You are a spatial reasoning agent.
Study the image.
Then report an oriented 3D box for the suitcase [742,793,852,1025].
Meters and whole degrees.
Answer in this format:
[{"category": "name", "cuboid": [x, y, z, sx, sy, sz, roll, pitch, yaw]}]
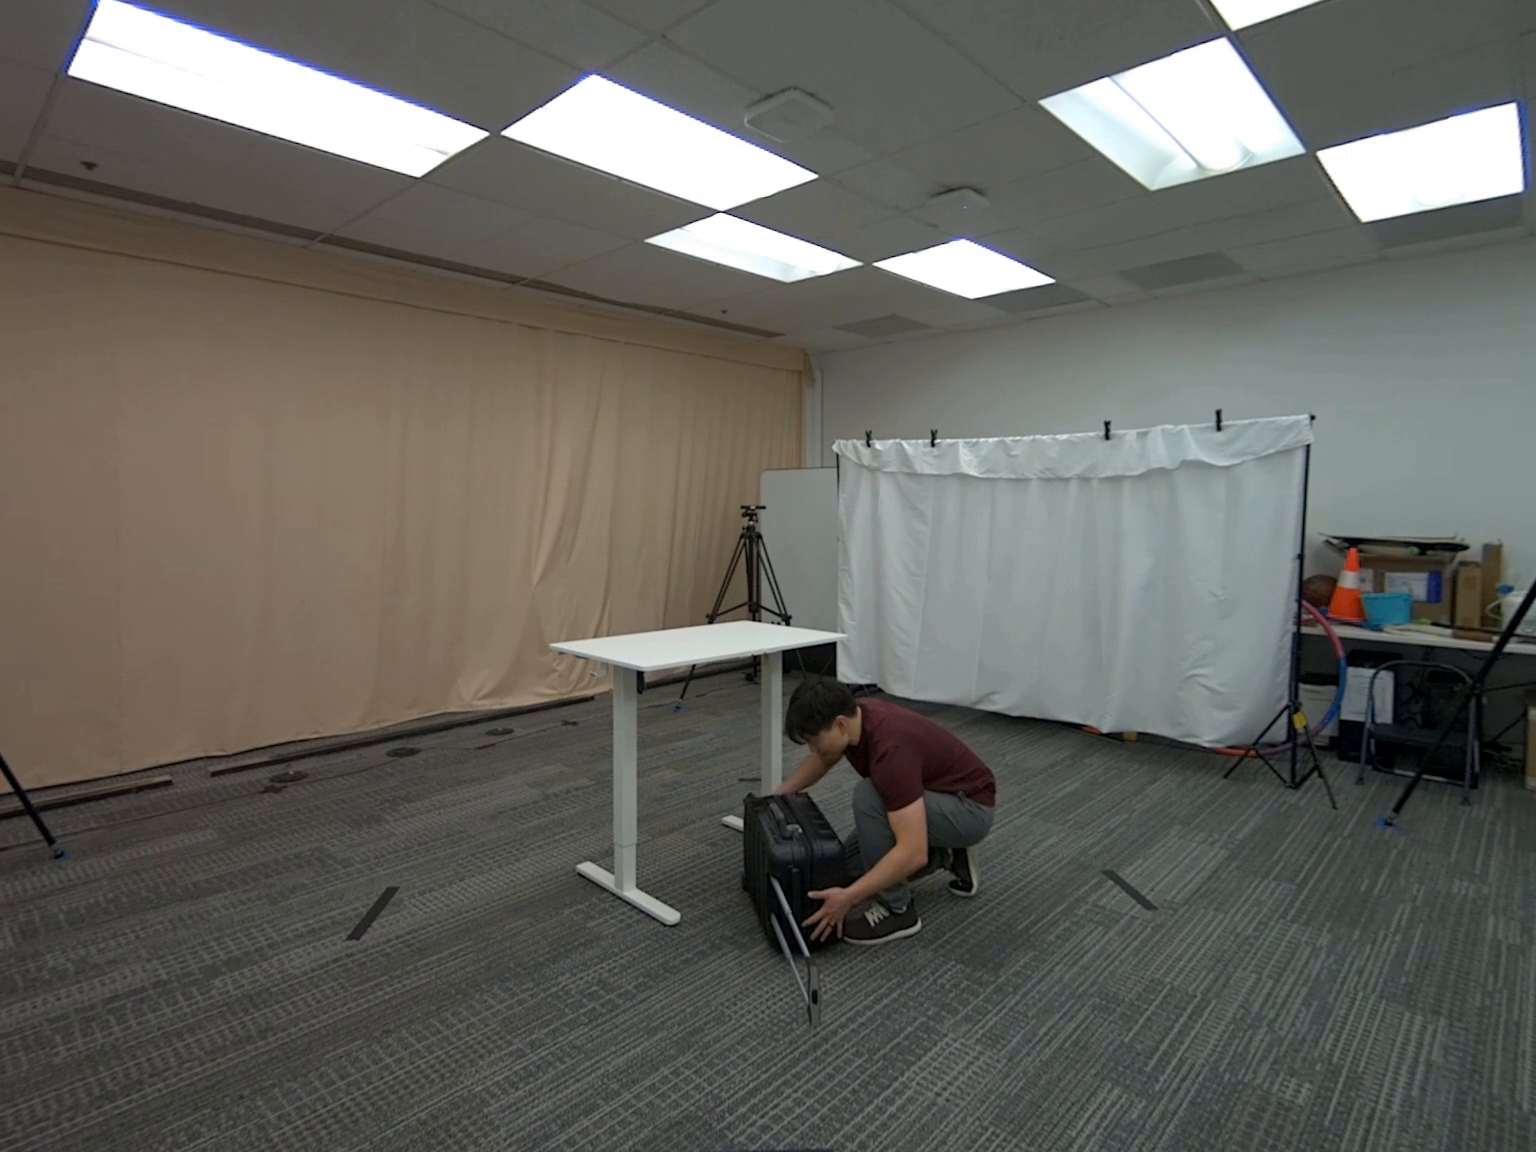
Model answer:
[{"category": "suitcase", "cuboid": [0.128, 0.990, 2.609, 0.254, 0.383, 0.993, -2, 6, -13]}]
